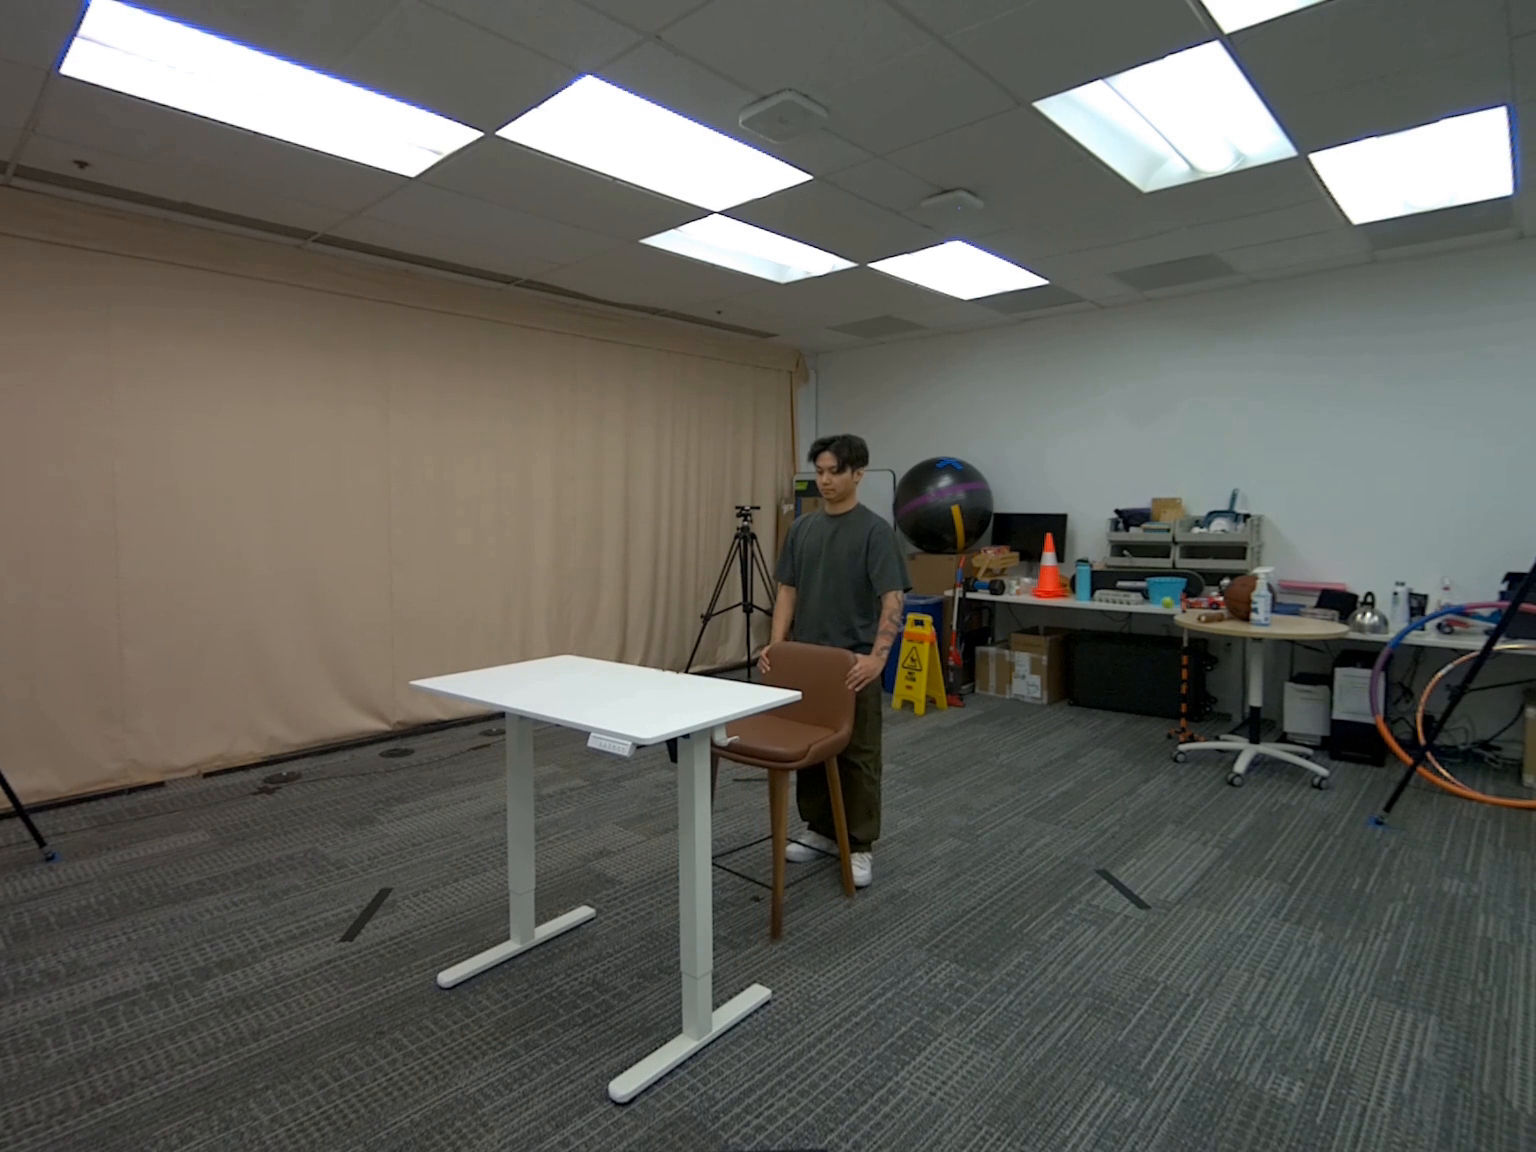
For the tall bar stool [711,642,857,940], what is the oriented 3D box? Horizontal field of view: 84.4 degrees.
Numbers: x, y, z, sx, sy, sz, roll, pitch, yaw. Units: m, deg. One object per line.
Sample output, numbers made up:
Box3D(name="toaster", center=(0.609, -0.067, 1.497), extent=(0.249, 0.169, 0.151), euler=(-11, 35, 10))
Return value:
Box3D(name="tall bar stool", center=(0.036, 0.709, 2.970), extent=(0.472, 0.889, 0.453), euler=(3, 2, 44))
